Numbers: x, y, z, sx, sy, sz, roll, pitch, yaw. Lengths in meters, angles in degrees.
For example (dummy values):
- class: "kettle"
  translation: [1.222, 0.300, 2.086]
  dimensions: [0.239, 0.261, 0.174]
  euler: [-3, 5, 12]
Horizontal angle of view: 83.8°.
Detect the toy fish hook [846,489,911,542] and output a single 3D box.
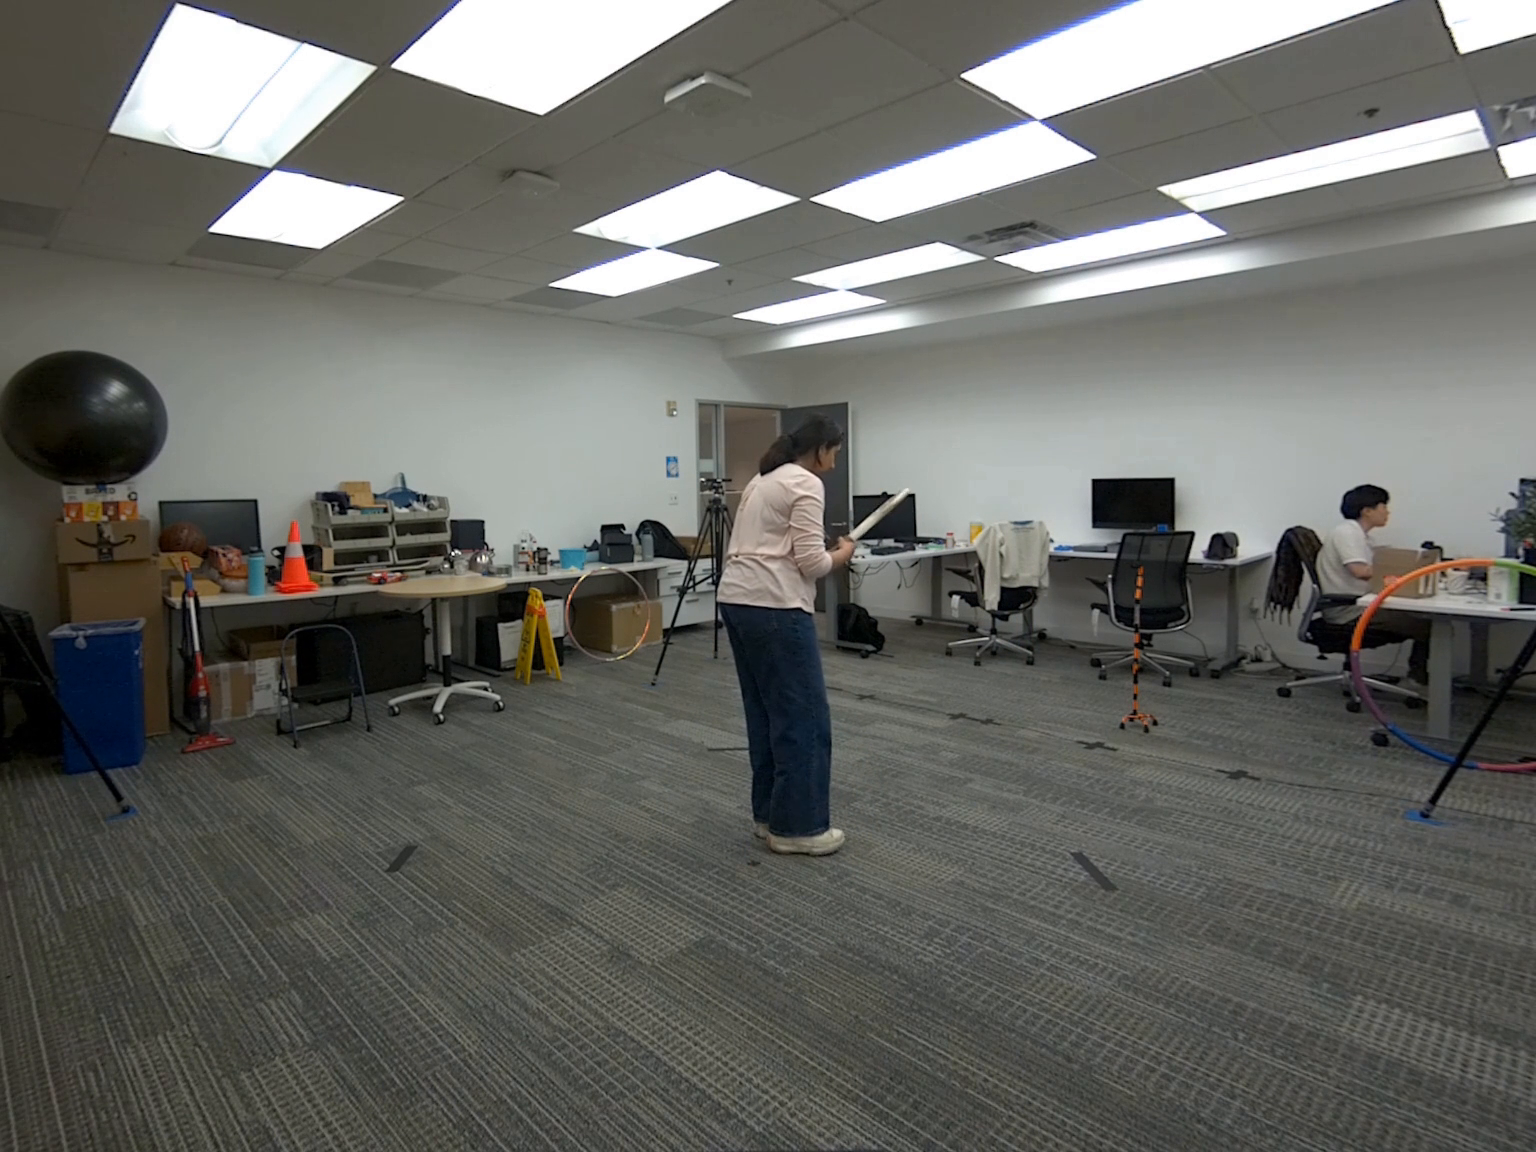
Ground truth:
- class: "toy fish hook"
  translation: [0.371, -0.183, 3.371]
  dimensions: [0.505, 0.049, 0.223]
  euler: [-40, -6, -20]
